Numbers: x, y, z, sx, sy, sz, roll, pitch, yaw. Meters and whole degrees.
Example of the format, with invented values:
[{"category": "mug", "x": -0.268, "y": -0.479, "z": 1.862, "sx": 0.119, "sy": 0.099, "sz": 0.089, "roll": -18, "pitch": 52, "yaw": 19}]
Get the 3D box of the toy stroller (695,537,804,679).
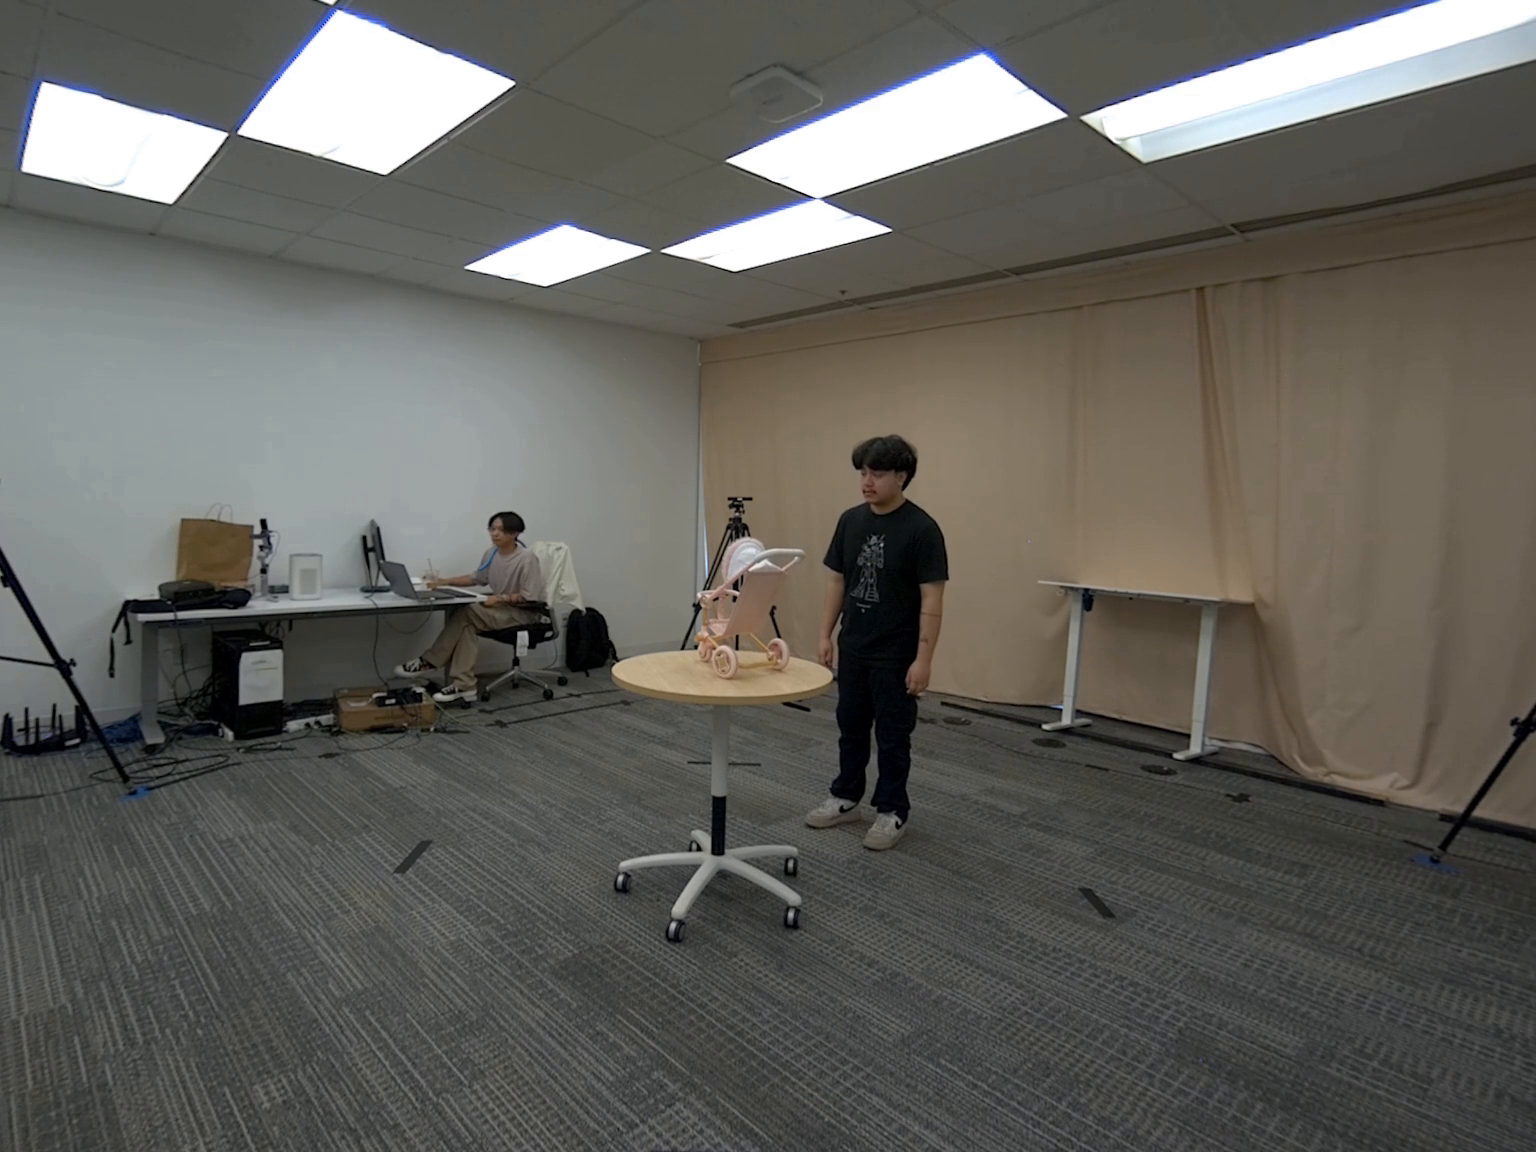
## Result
[{"category": "toy stroller", "x": -0.095, "y": 0.109, "z": 2.915, "sx": 0.275, "sy": 0.530, "sz": 0.352, "roll": 0, "pitch": 19, "yaw": -39}]
